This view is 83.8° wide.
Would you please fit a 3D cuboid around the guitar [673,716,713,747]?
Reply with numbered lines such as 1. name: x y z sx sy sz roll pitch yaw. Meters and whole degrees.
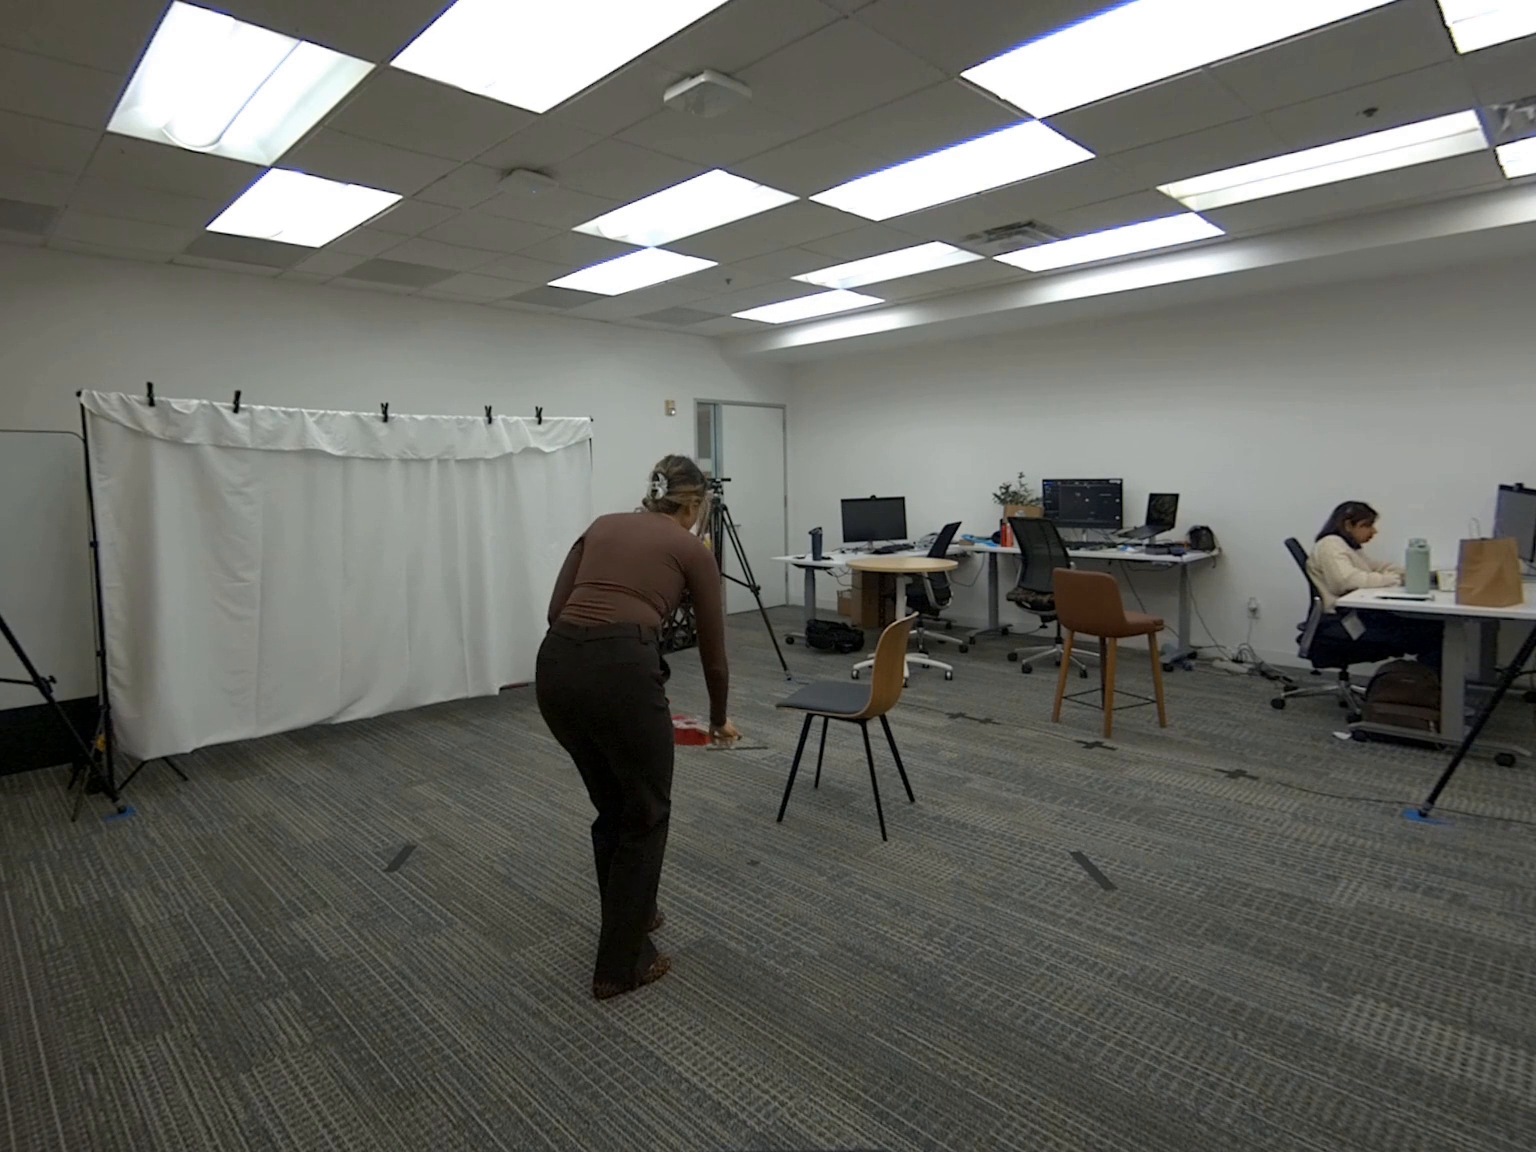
1. guitar: -0.264 0.541 2.912 0.190 0.071 0.505 1 -1 -19
